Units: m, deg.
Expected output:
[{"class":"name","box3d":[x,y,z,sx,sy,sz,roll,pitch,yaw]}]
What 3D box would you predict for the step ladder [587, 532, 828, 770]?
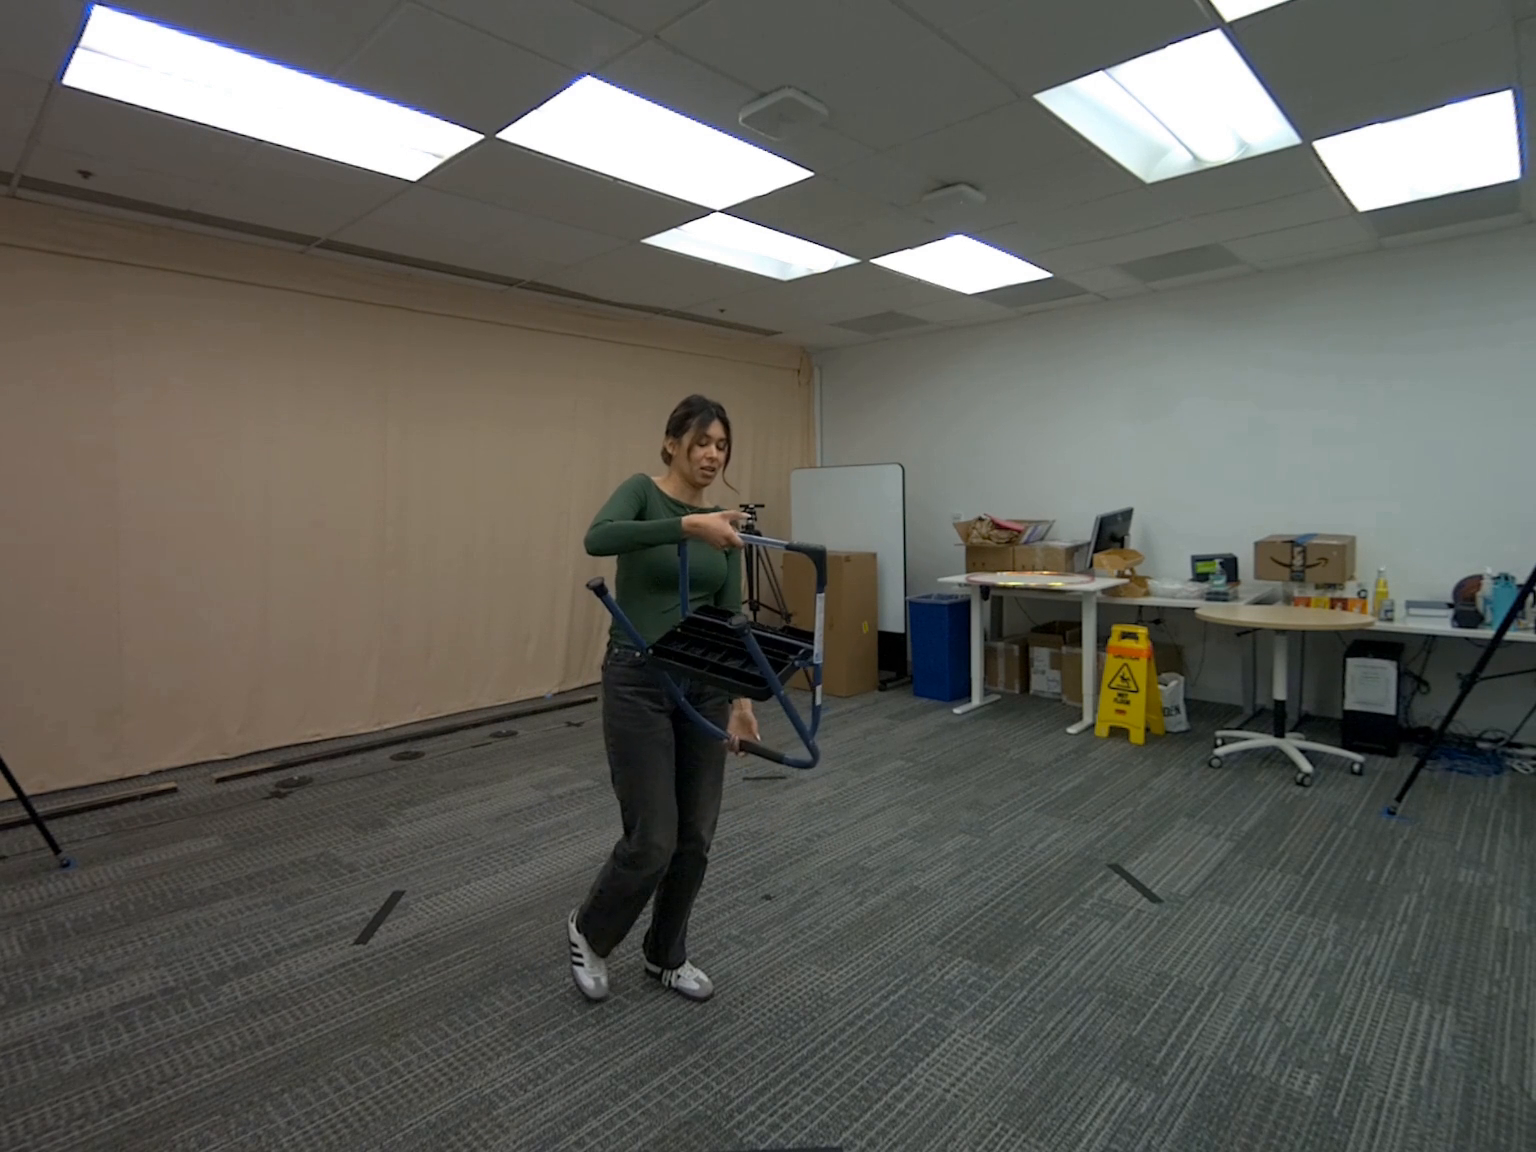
[{"class":"step ladder","box3d":[-0.086,0.239,1.982,0.445,0.594,0.344,12,35,36]}]
